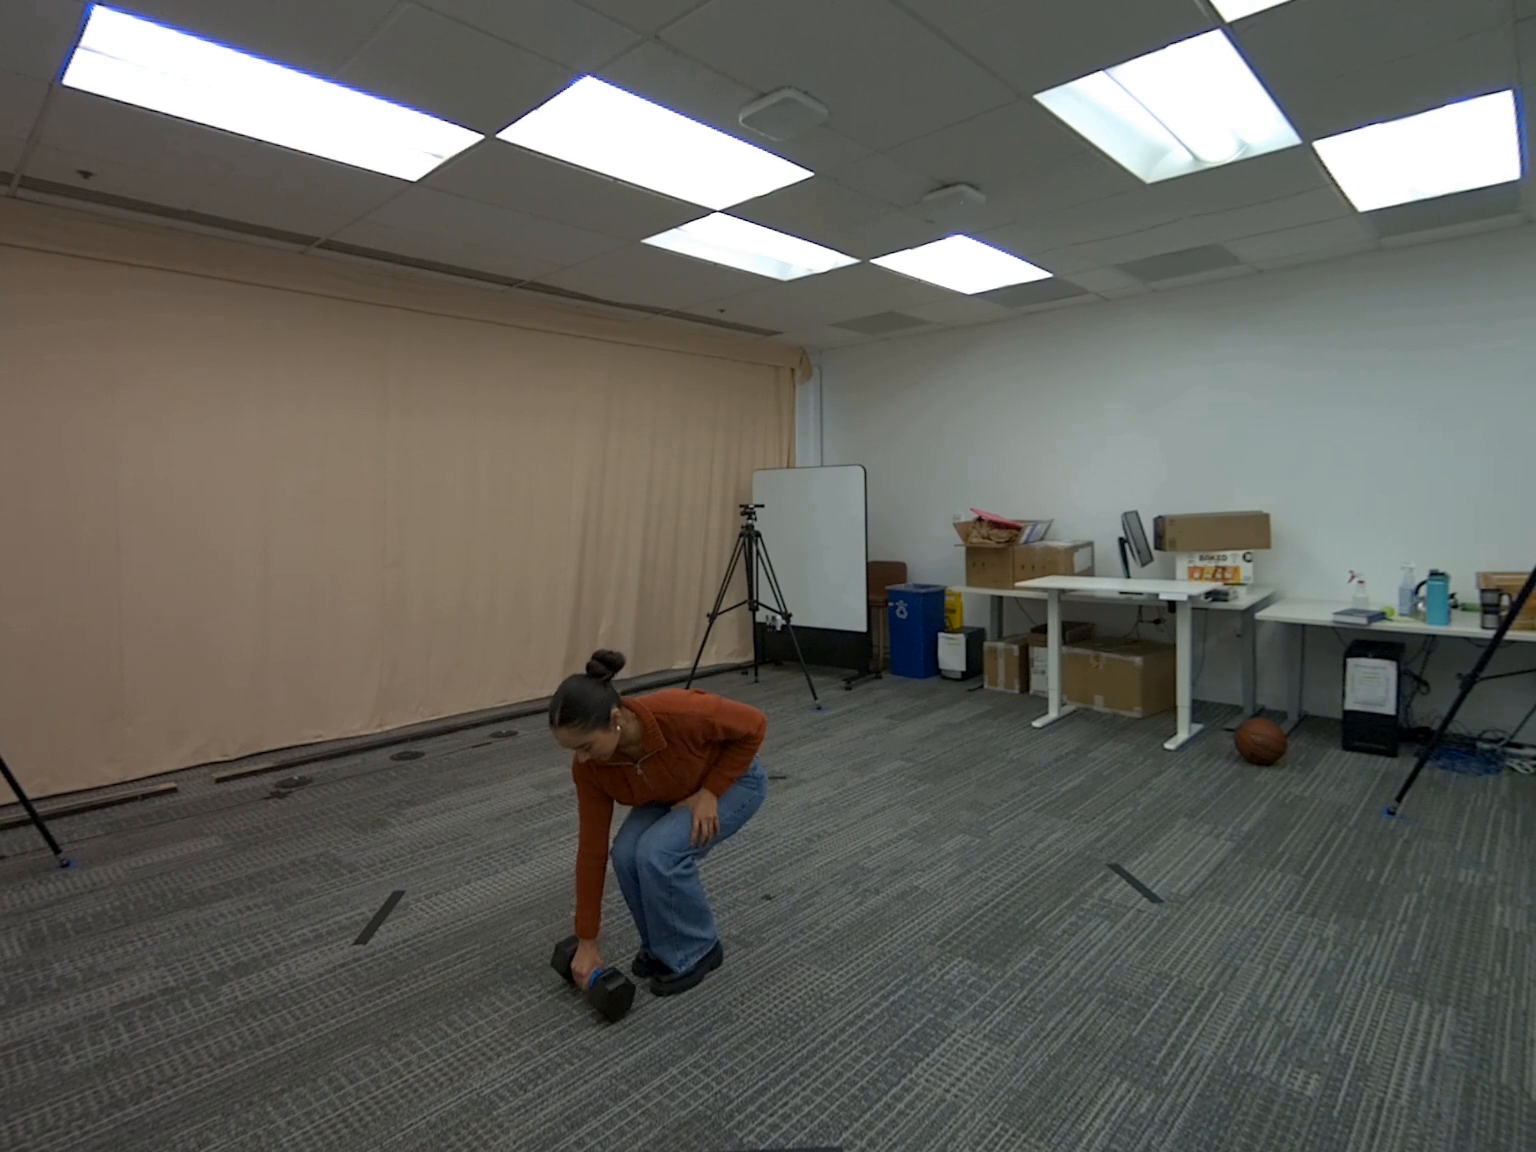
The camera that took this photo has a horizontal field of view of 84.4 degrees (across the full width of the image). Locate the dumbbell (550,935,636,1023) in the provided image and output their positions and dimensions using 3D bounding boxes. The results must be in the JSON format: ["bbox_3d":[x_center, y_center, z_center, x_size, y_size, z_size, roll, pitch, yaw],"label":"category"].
[{"bbox_3d":[-0.498,1.115,2.382,0.105,0.123,0.303,26,-11,-39],"label":"dumbbell"}]
